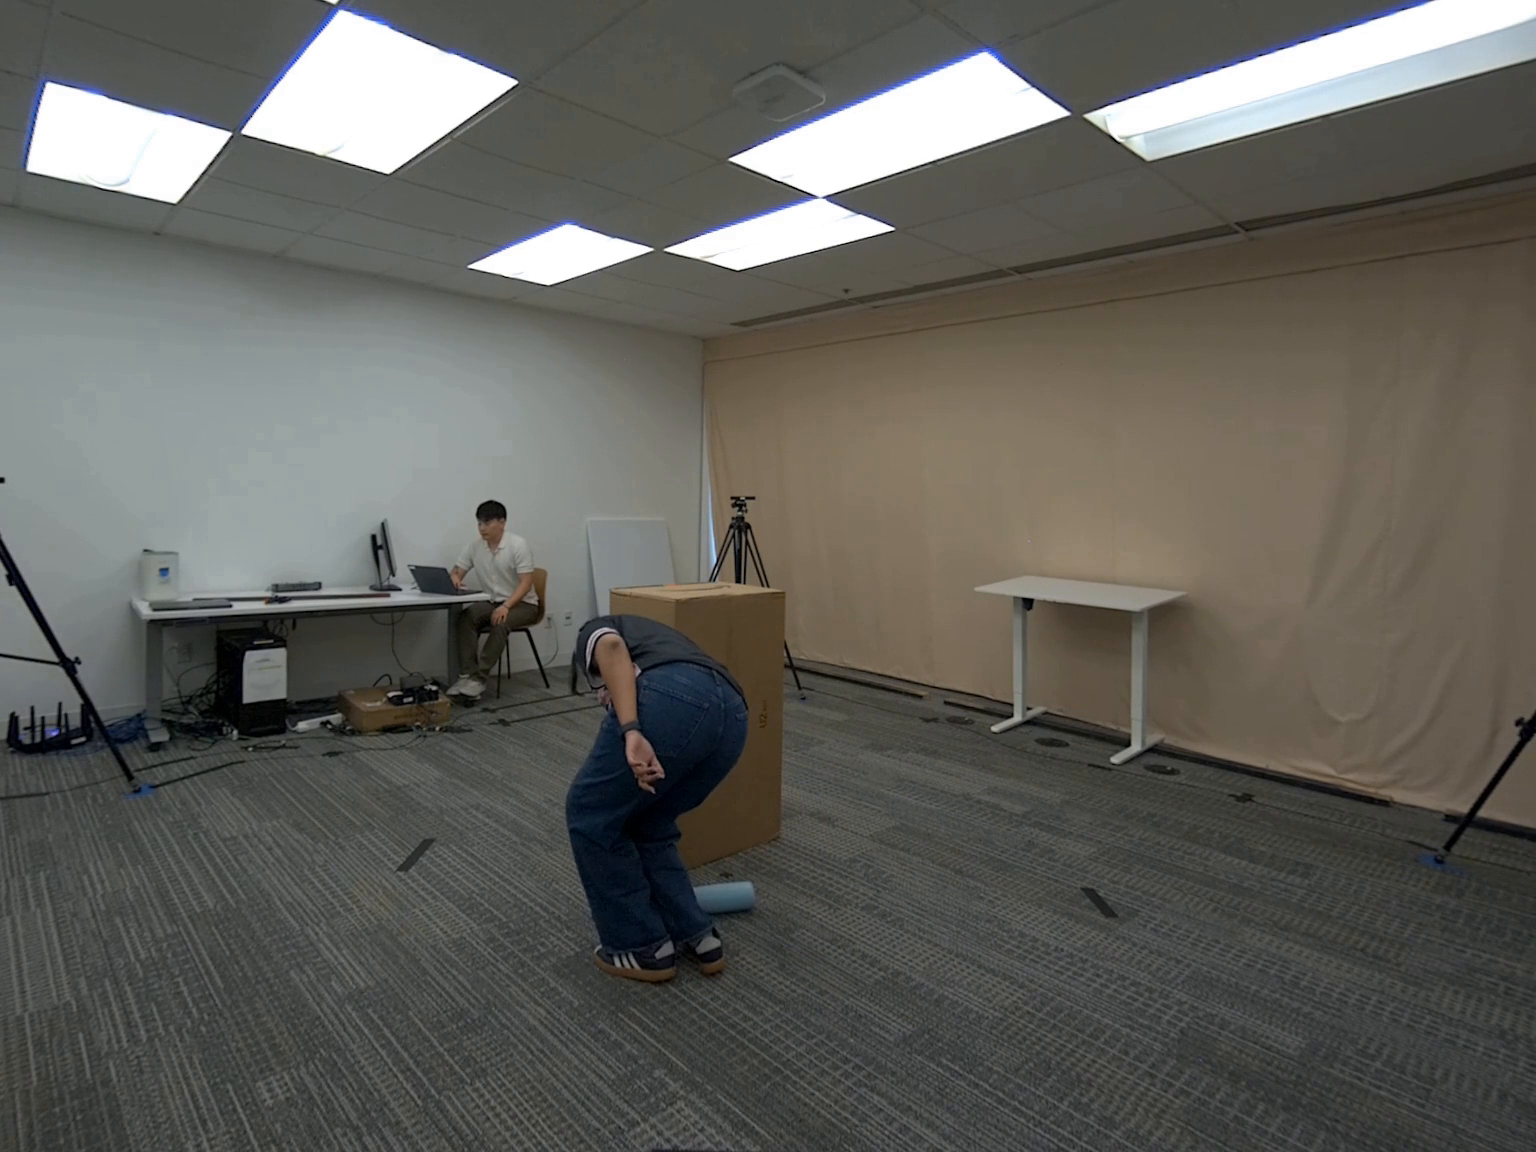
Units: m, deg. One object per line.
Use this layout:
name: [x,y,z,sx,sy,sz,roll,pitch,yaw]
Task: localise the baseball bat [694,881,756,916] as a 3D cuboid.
baseball bat: [-0.318,1.091,2.797,0.539,0.089,0.090,-3,5,-10]
